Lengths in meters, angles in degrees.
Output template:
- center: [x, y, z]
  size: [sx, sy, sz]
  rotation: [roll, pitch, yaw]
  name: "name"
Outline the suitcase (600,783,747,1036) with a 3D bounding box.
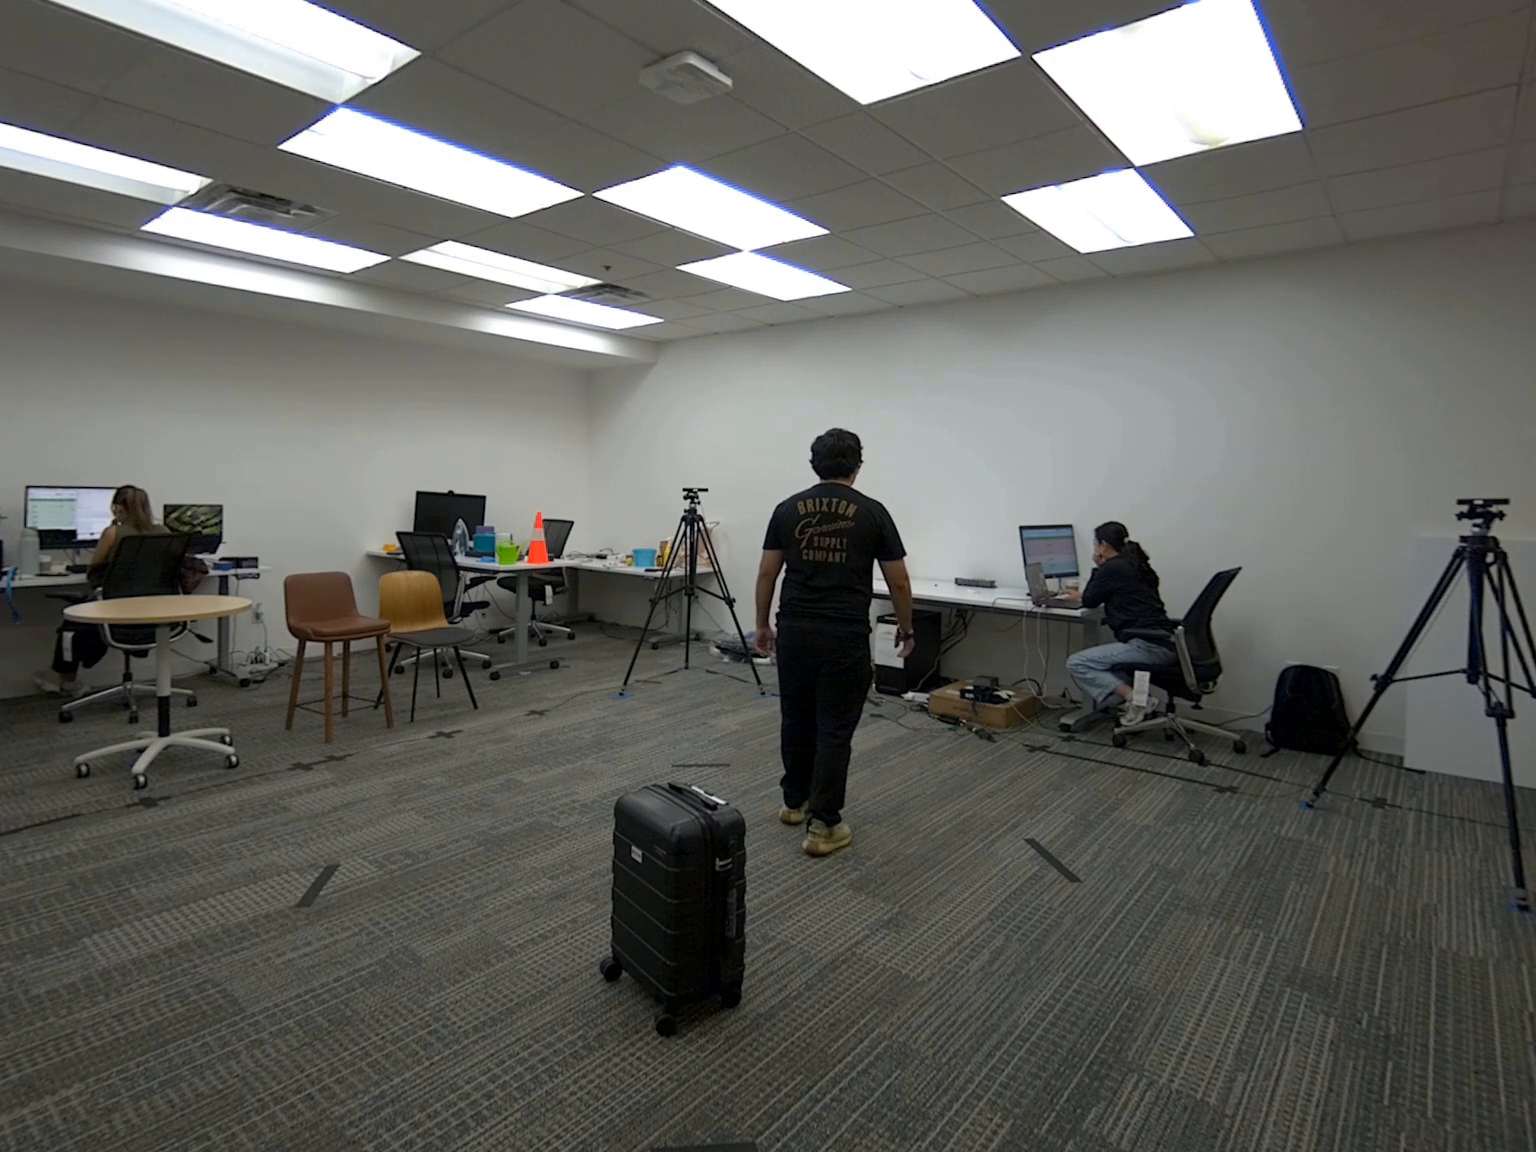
- center: [-0.262, 0.871, 2.340]
  size: [0.241, 0.548, 0.388]
  rotation: [0, 3, -39]
  name: "suitcase"
